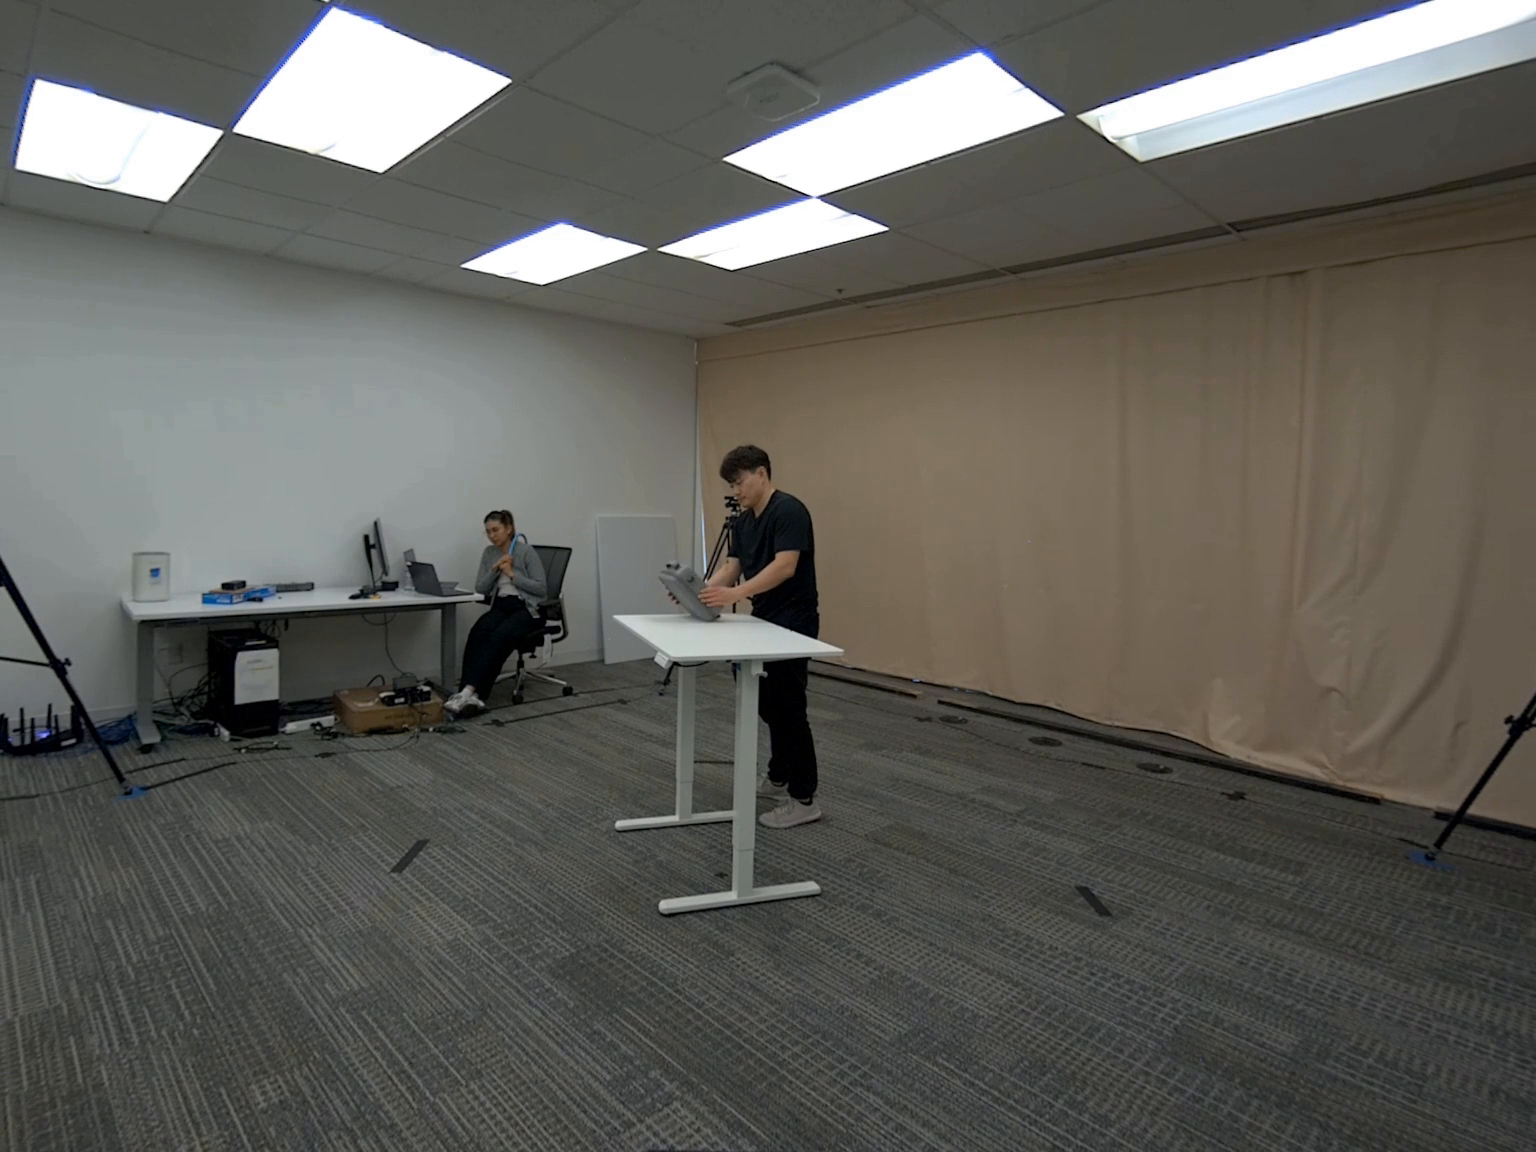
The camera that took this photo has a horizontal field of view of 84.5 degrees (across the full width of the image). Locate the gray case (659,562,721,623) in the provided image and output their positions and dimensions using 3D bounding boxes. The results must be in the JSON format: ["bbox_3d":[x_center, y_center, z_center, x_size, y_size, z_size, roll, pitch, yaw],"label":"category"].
[{"bbox_3d":[-0.334,0.062,3.539,0.104,0.256,0.262,-41,17,-12],"label":"gray case"}]
